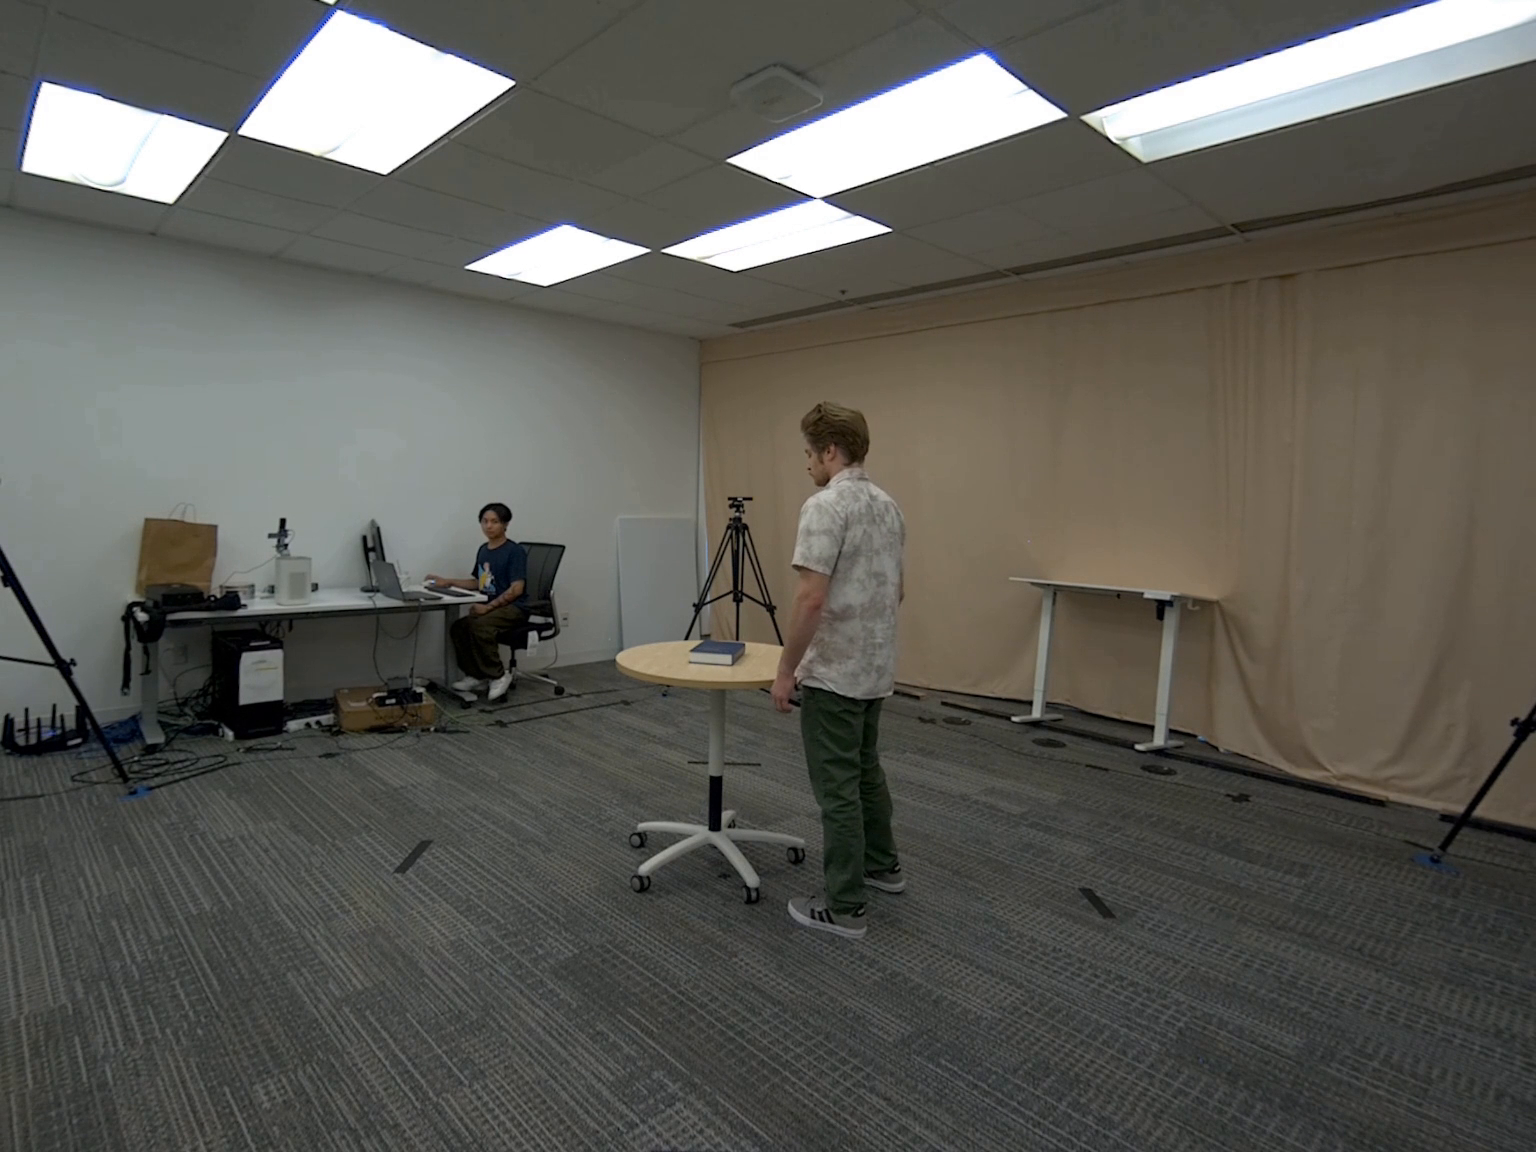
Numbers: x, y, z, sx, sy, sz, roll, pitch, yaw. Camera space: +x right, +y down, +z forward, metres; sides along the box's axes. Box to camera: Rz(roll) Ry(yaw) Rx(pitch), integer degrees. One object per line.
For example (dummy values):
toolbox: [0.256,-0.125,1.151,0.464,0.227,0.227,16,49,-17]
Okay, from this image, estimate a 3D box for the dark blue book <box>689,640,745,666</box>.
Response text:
dark blue book: [-0.193,0.287,3.147,0.165,0.045,0.244,3,6,9]
